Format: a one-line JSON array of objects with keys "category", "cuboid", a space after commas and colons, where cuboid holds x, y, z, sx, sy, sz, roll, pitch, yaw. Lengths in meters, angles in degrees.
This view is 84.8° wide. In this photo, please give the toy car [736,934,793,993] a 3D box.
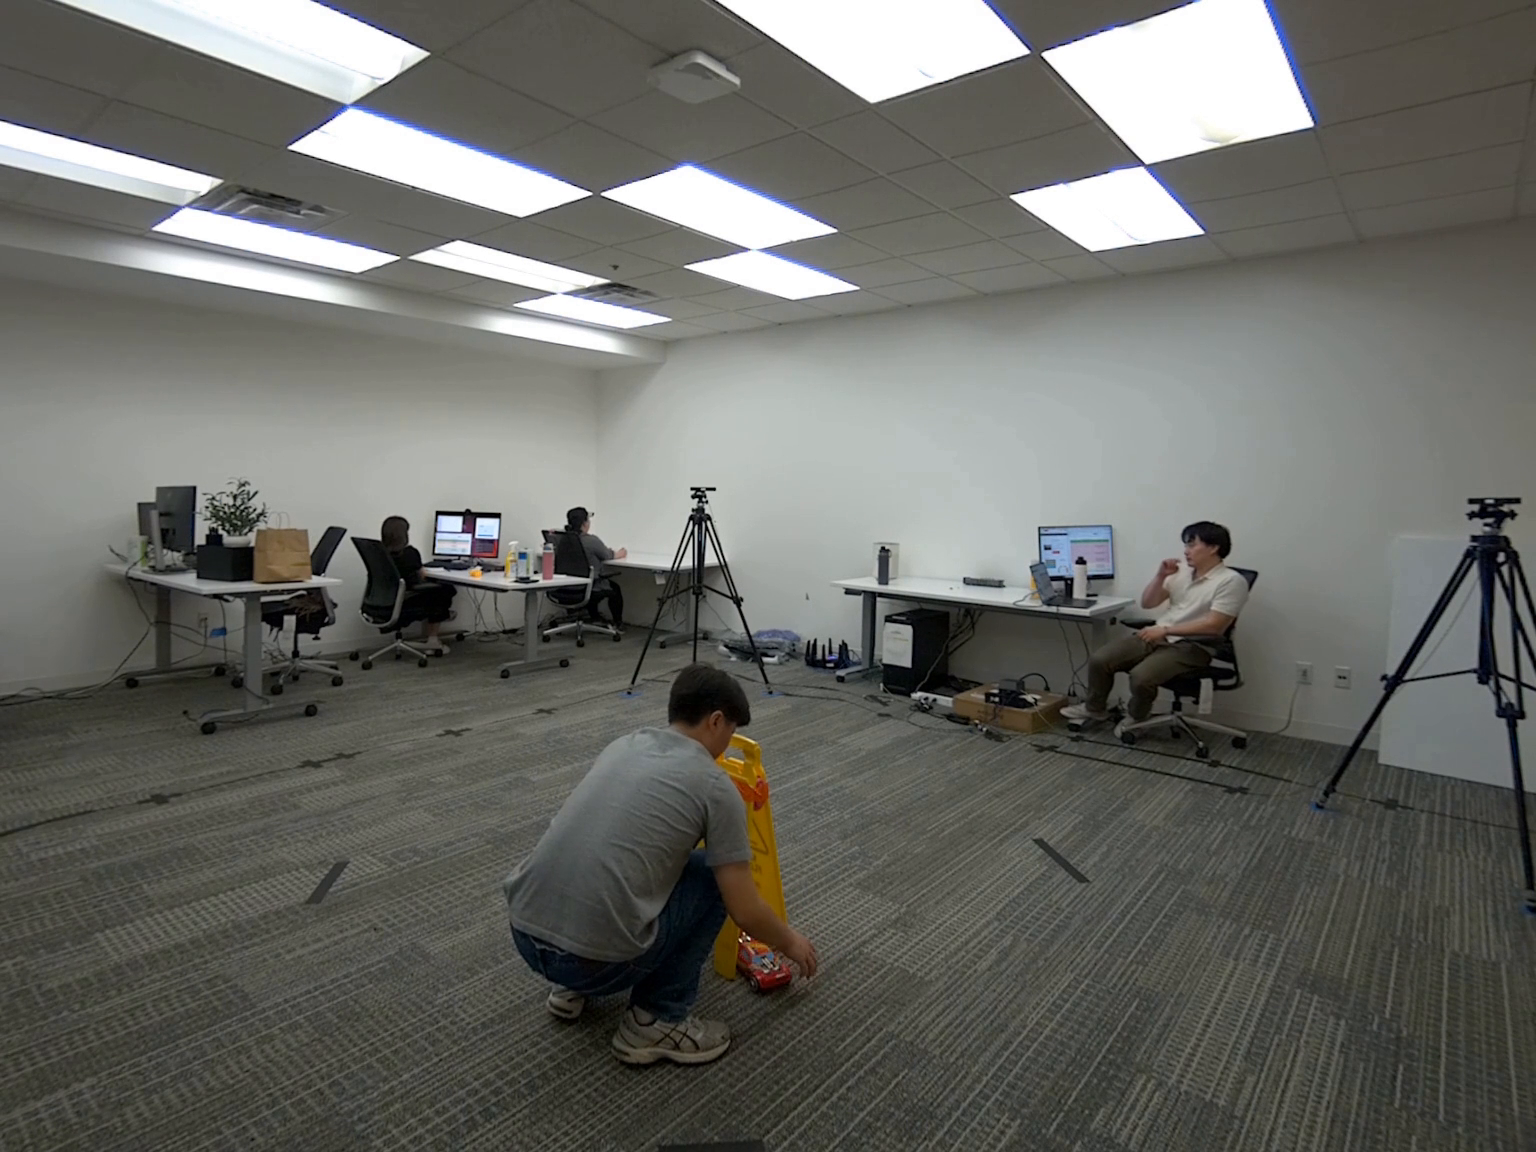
[{"category": "toy car", "cuboid": [-0.054, 1.111, 2.453, 0.127, 0.082, 0.264, -2, 18, -29]}]
